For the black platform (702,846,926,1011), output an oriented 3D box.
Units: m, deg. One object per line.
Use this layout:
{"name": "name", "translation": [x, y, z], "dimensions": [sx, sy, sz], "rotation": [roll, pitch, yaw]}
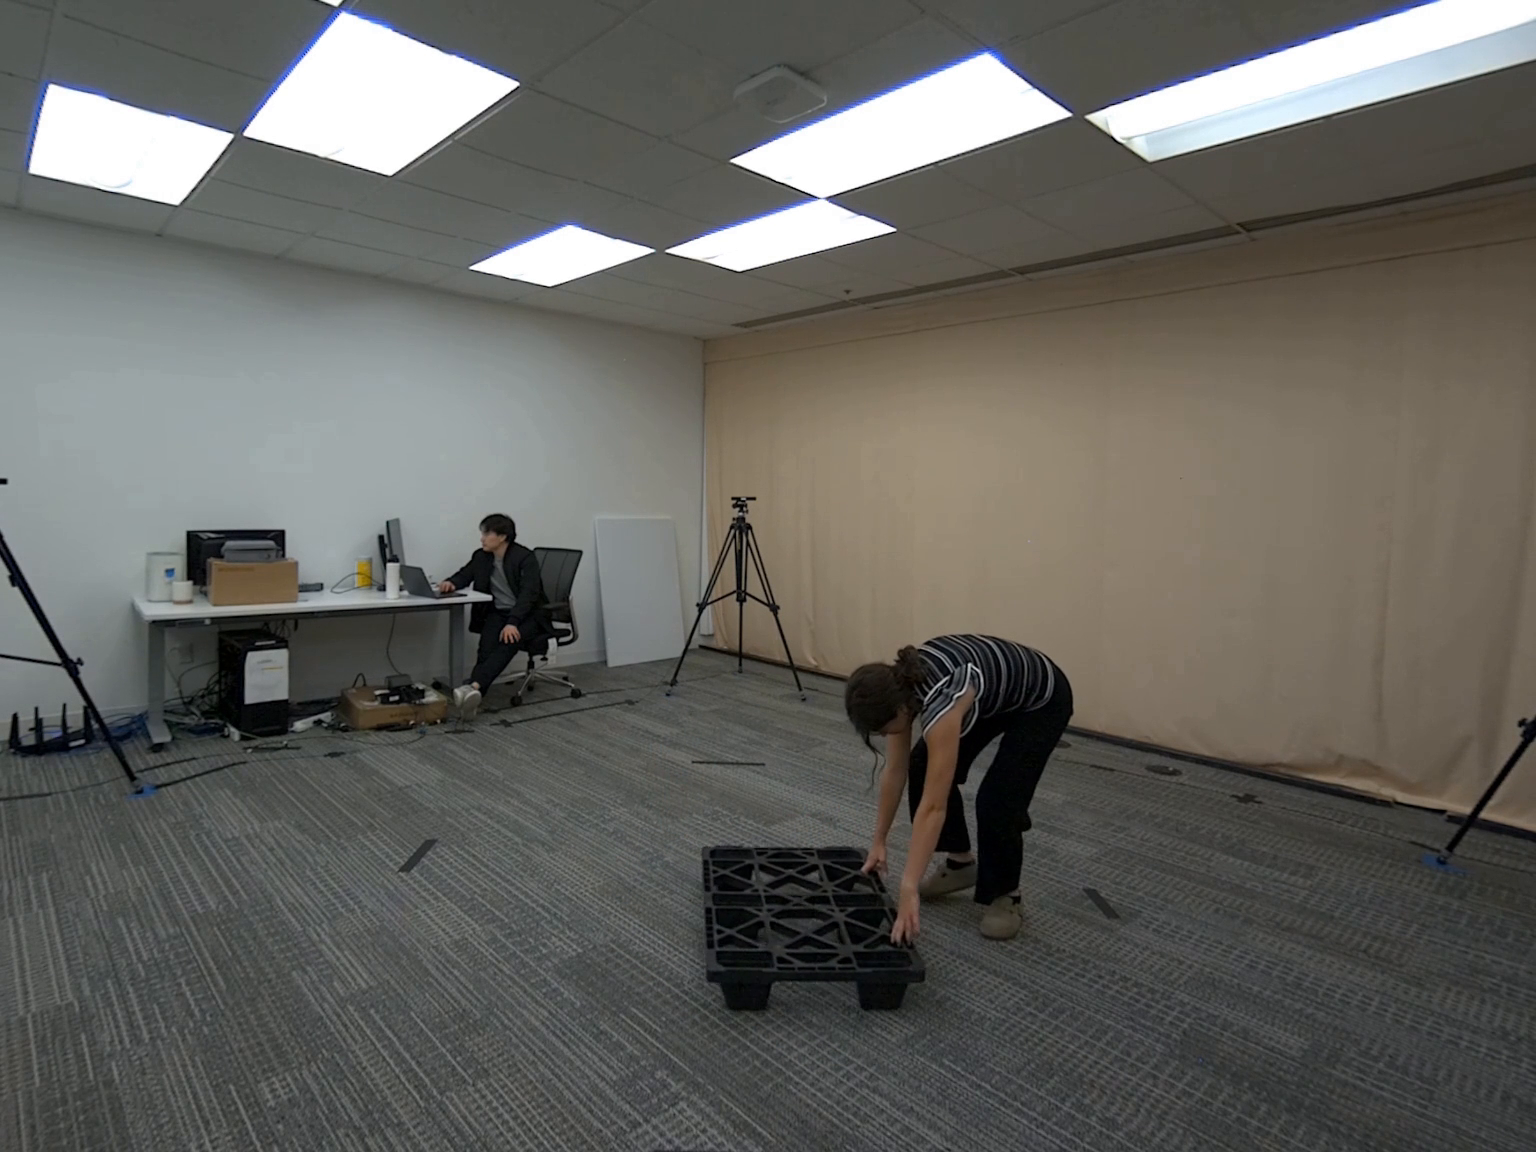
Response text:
{"name": "black platform", "translation": [0.085, 1.081, 2.655], "dimensions": [0.603, 0.143, 0.810], "rotation": [1, 5, -4]}
